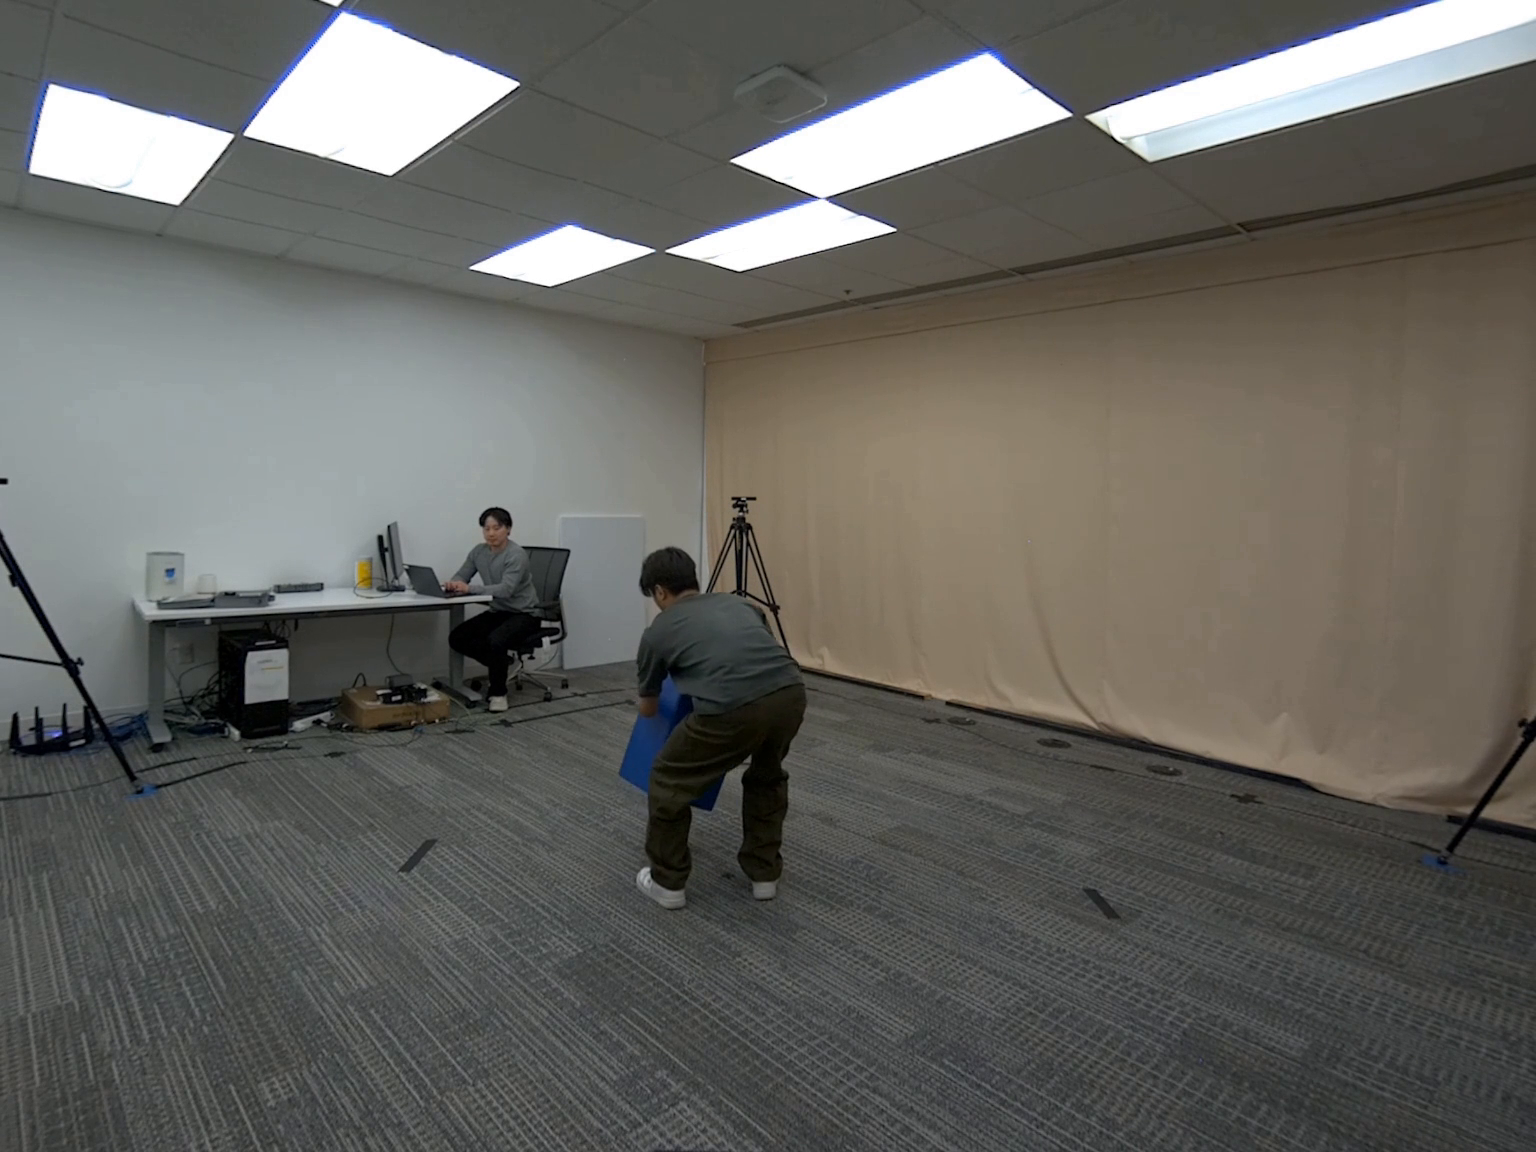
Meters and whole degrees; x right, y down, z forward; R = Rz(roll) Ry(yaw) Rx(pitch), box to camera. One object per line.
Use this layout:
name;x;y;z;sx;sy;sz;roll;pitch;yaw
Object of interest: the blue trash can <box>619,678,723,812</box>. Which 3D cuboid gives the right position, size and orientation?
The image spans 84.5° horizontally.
blue trash can;-0.295;0.534;3.387;0.364;0.717;0.386;26;-12;-29
